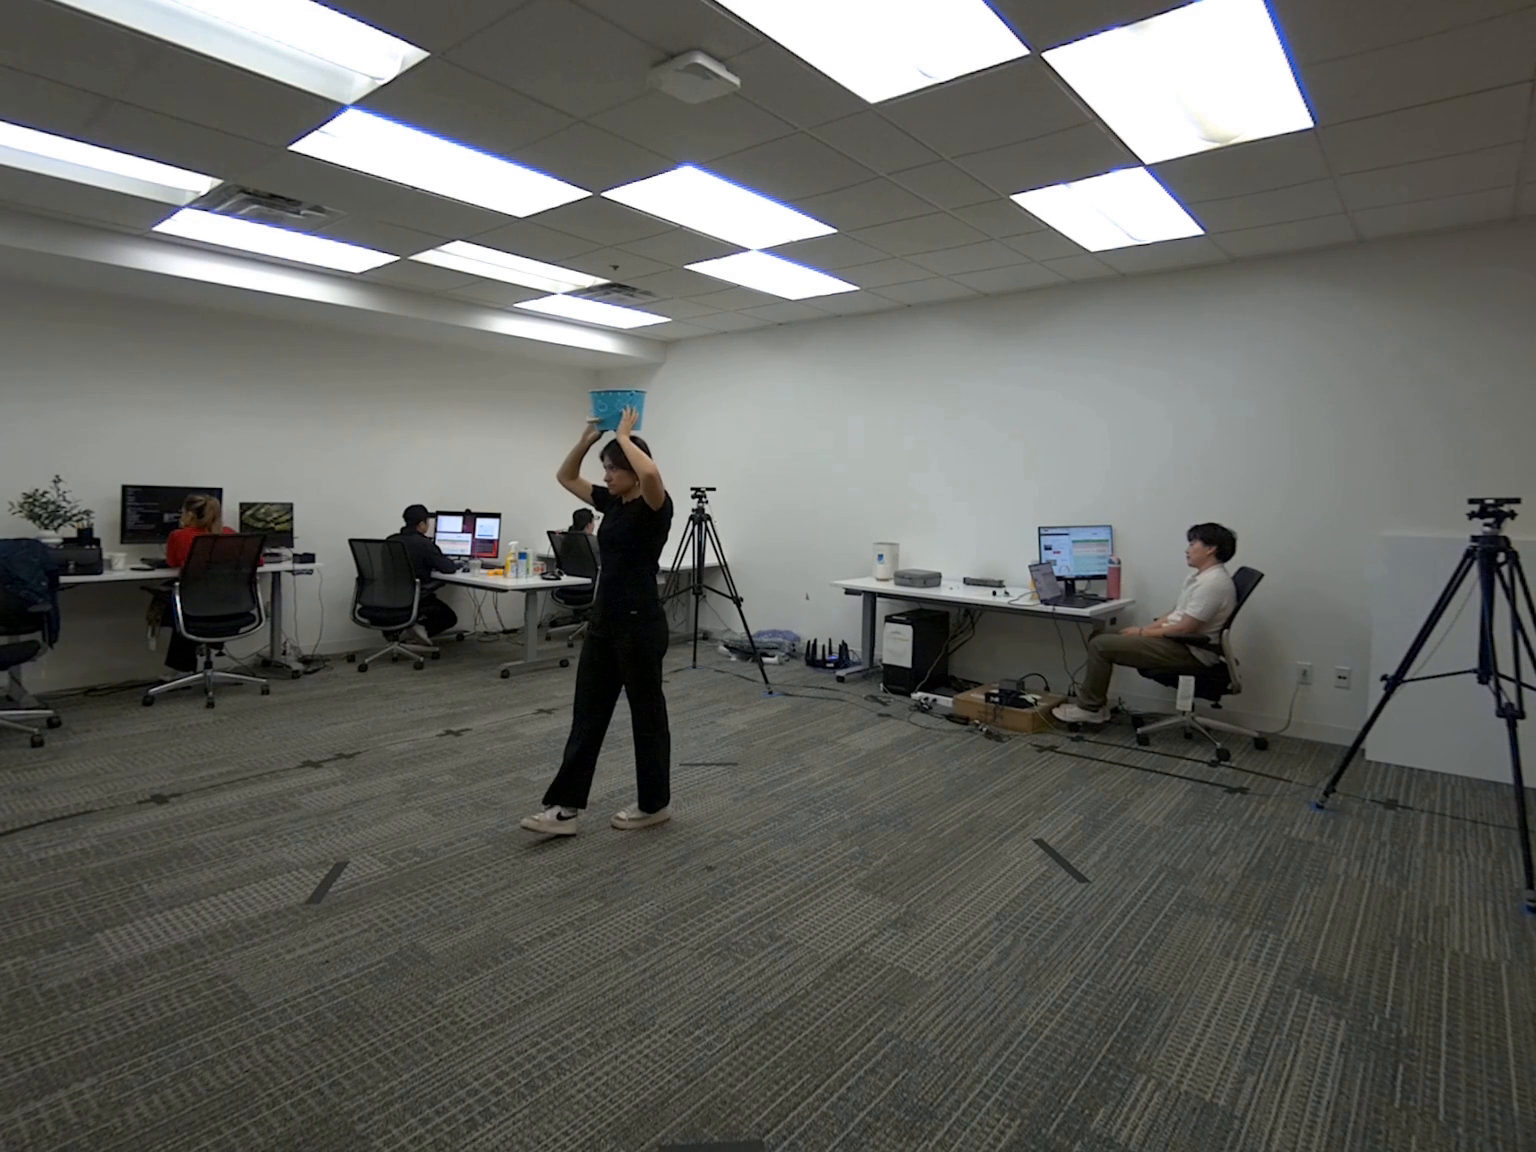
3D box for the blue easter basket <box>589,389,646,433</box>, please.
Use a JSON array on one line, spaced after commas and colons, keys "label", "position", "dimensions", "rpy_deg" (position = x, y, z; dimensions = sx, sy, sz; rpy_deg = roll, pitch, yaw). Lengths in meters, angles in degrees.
[{"label": "blue easter basket", "position": [-0.617, -0.659, 3.365], "dimensions": [0.243, 0.155, 0.245], "rpy_deg": [3, 6, -2]}]
